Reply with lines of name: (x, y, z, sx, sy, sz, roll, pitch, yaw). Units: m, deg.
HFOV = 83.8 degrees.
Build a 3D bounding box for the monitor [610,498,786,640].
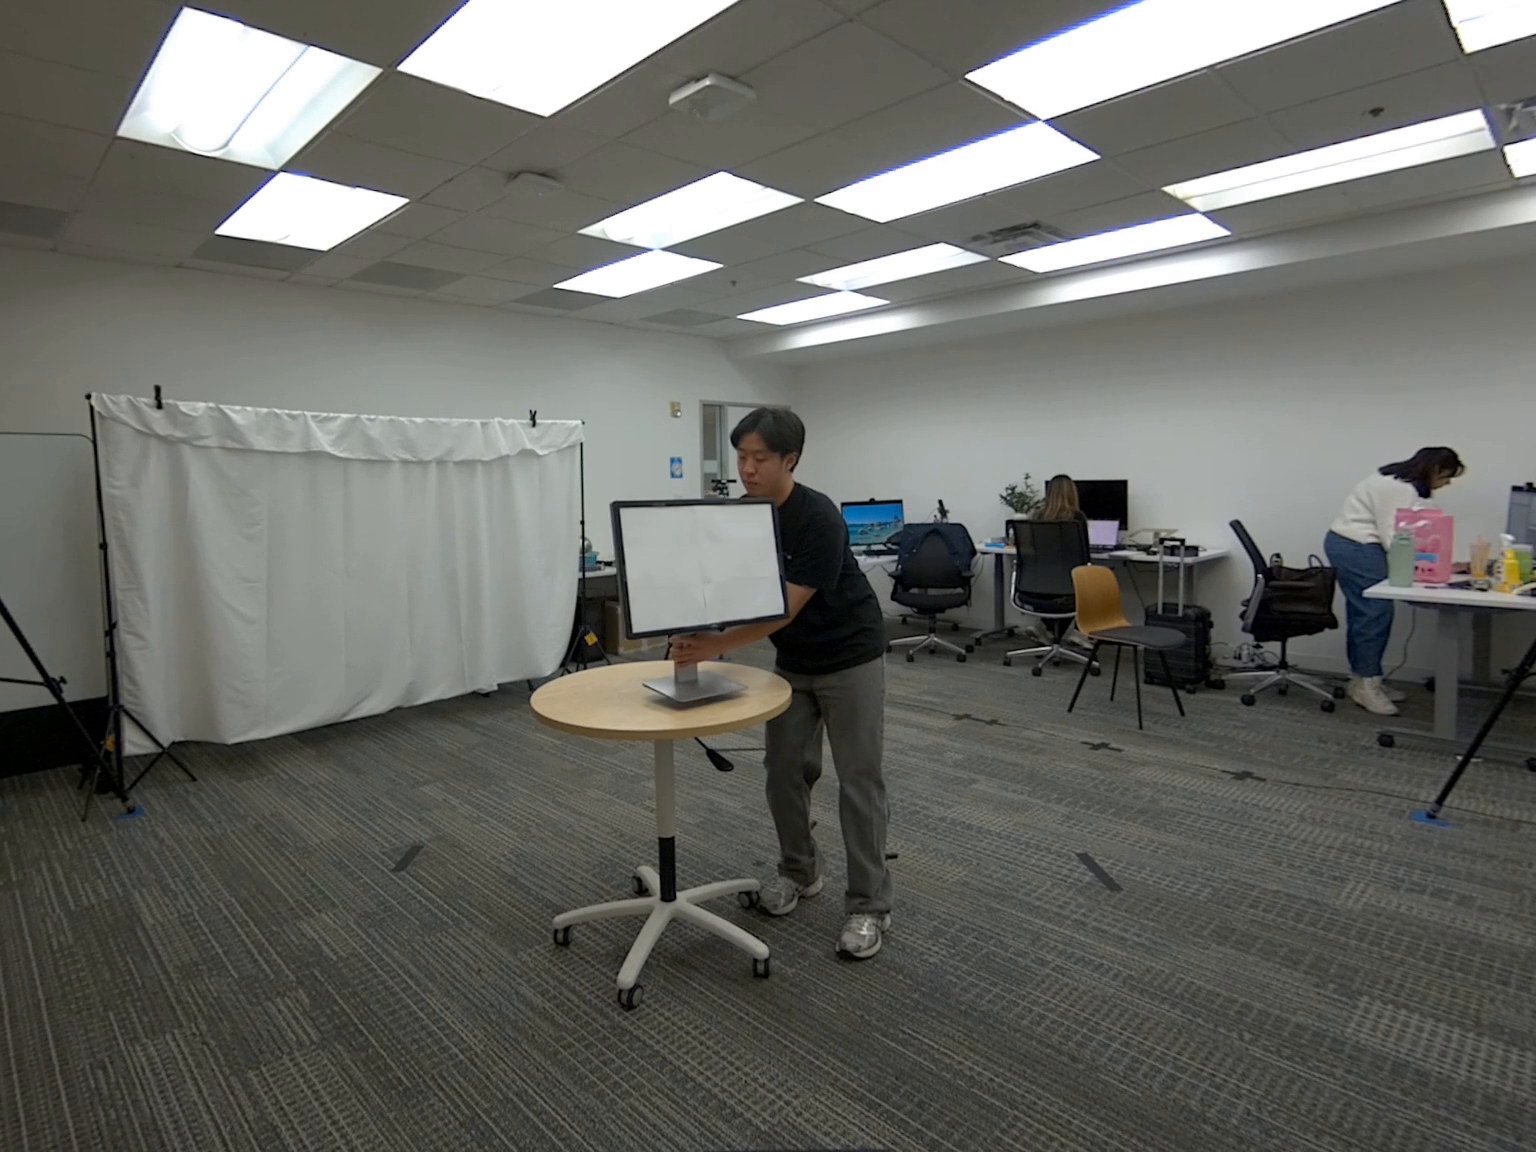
monitor: (-0.203, 0.071, 2.414, 0.547, 0.562, 0.230, -4, 10, -37)
